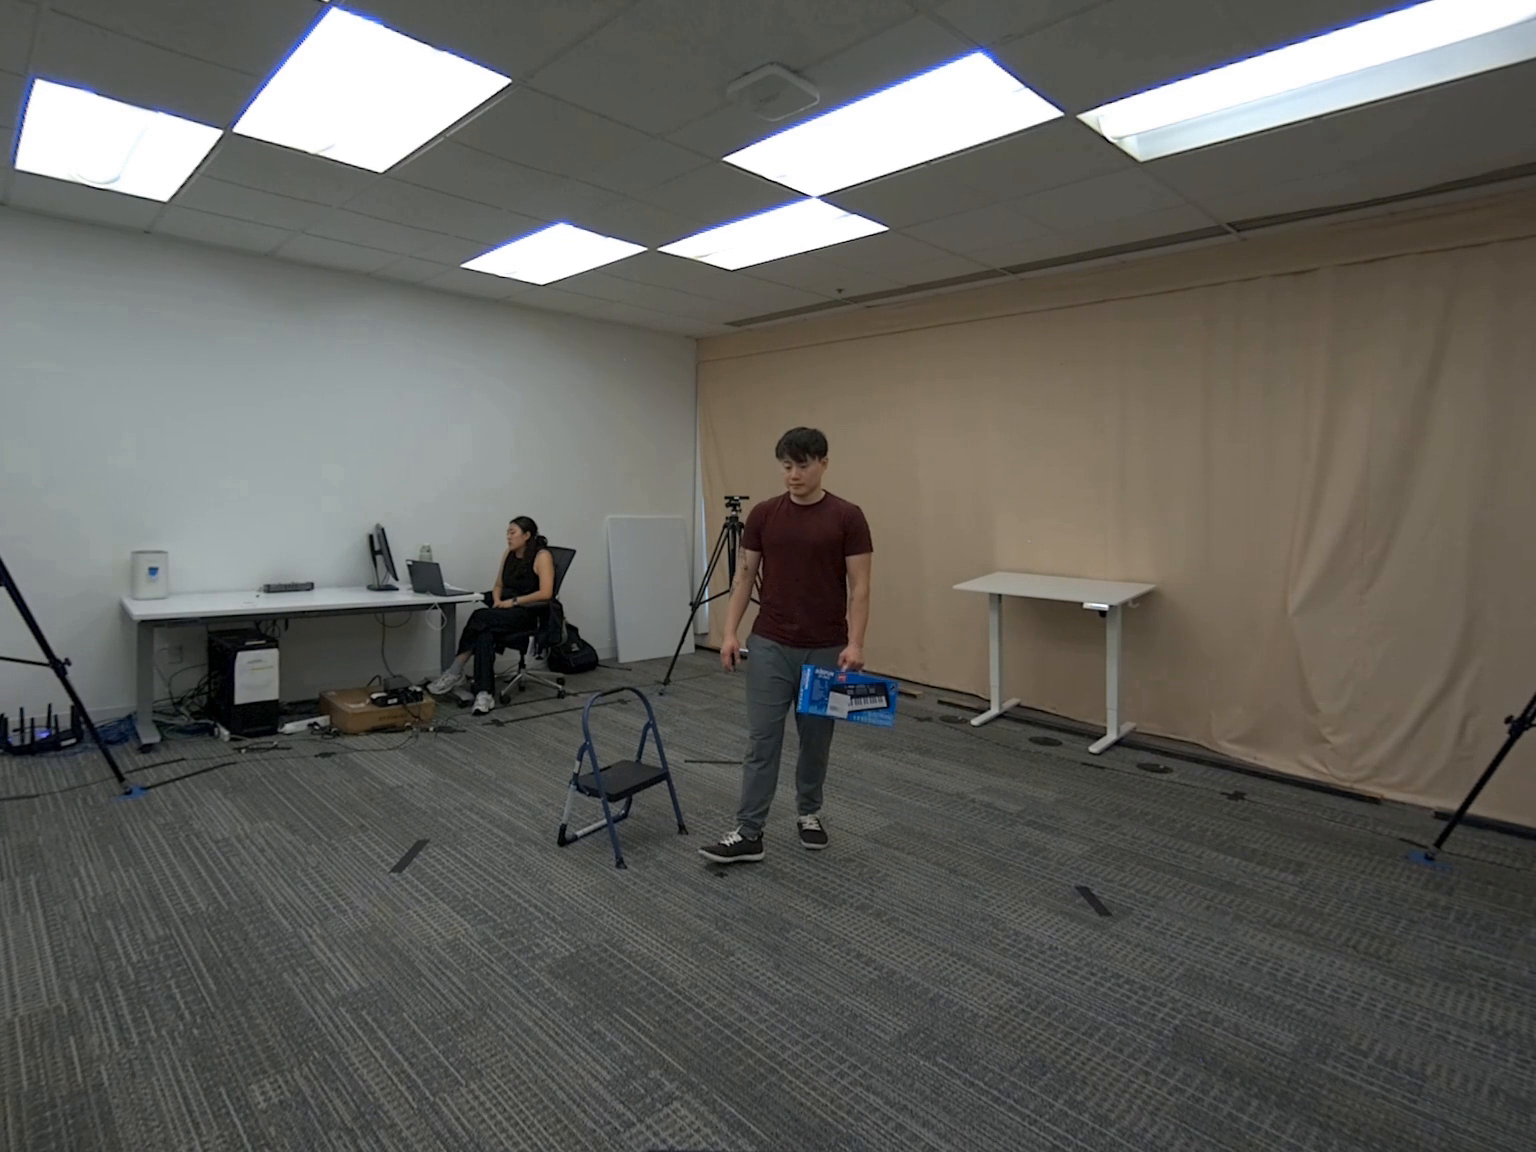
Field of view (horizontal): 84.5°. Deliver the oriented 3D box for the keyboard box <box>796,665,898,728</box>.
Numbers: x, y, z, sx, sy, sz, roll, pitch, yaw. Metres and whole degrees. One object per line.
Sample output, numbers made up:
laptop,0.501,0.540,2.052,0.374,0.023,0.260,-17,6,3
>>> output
keyboard box,0.292,0.448,3.117,0.425,0.177,0.060,15,-11,-35
